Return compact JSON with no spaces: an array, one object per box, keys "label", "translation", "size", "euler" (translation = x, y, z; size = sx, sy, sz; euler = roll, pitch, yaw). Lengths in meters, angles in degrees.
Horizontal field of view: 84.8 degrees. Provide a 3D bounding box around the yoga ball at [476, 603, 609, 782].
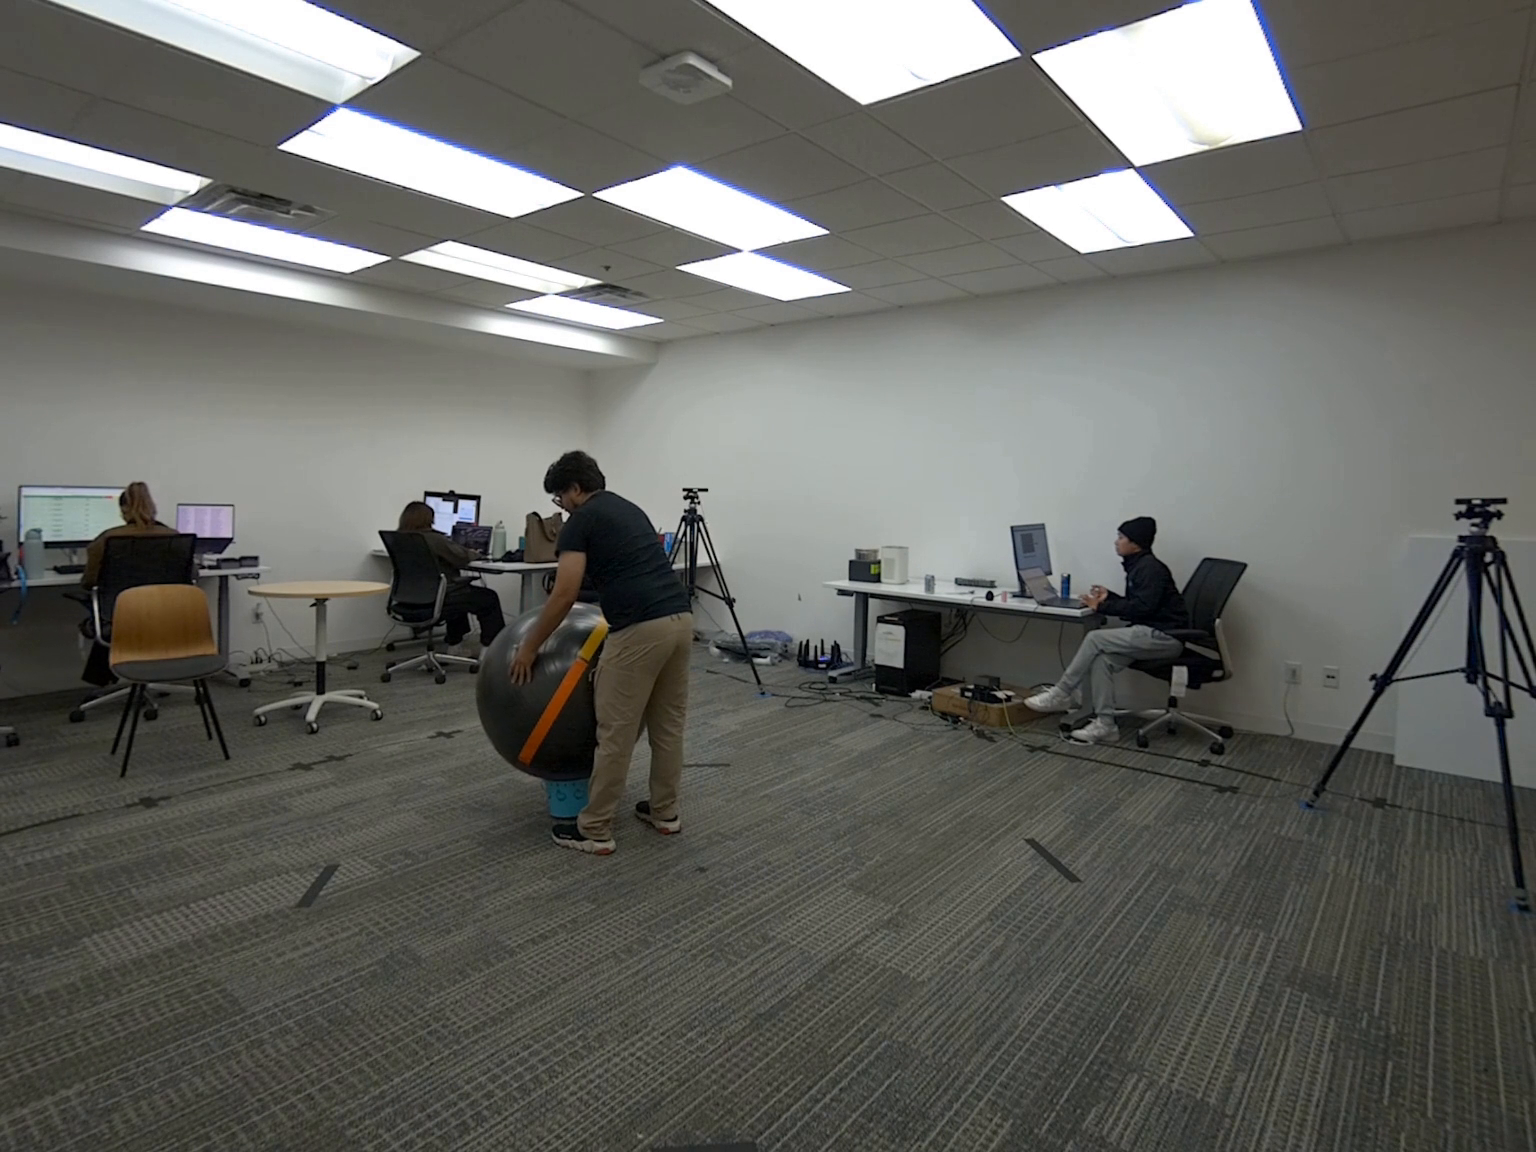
[{"label":"yoga ball","translation":[-0.879,0.494,3.671],"size":[0.757,0.756,0.762],"euler":[1,4,-2]}]
